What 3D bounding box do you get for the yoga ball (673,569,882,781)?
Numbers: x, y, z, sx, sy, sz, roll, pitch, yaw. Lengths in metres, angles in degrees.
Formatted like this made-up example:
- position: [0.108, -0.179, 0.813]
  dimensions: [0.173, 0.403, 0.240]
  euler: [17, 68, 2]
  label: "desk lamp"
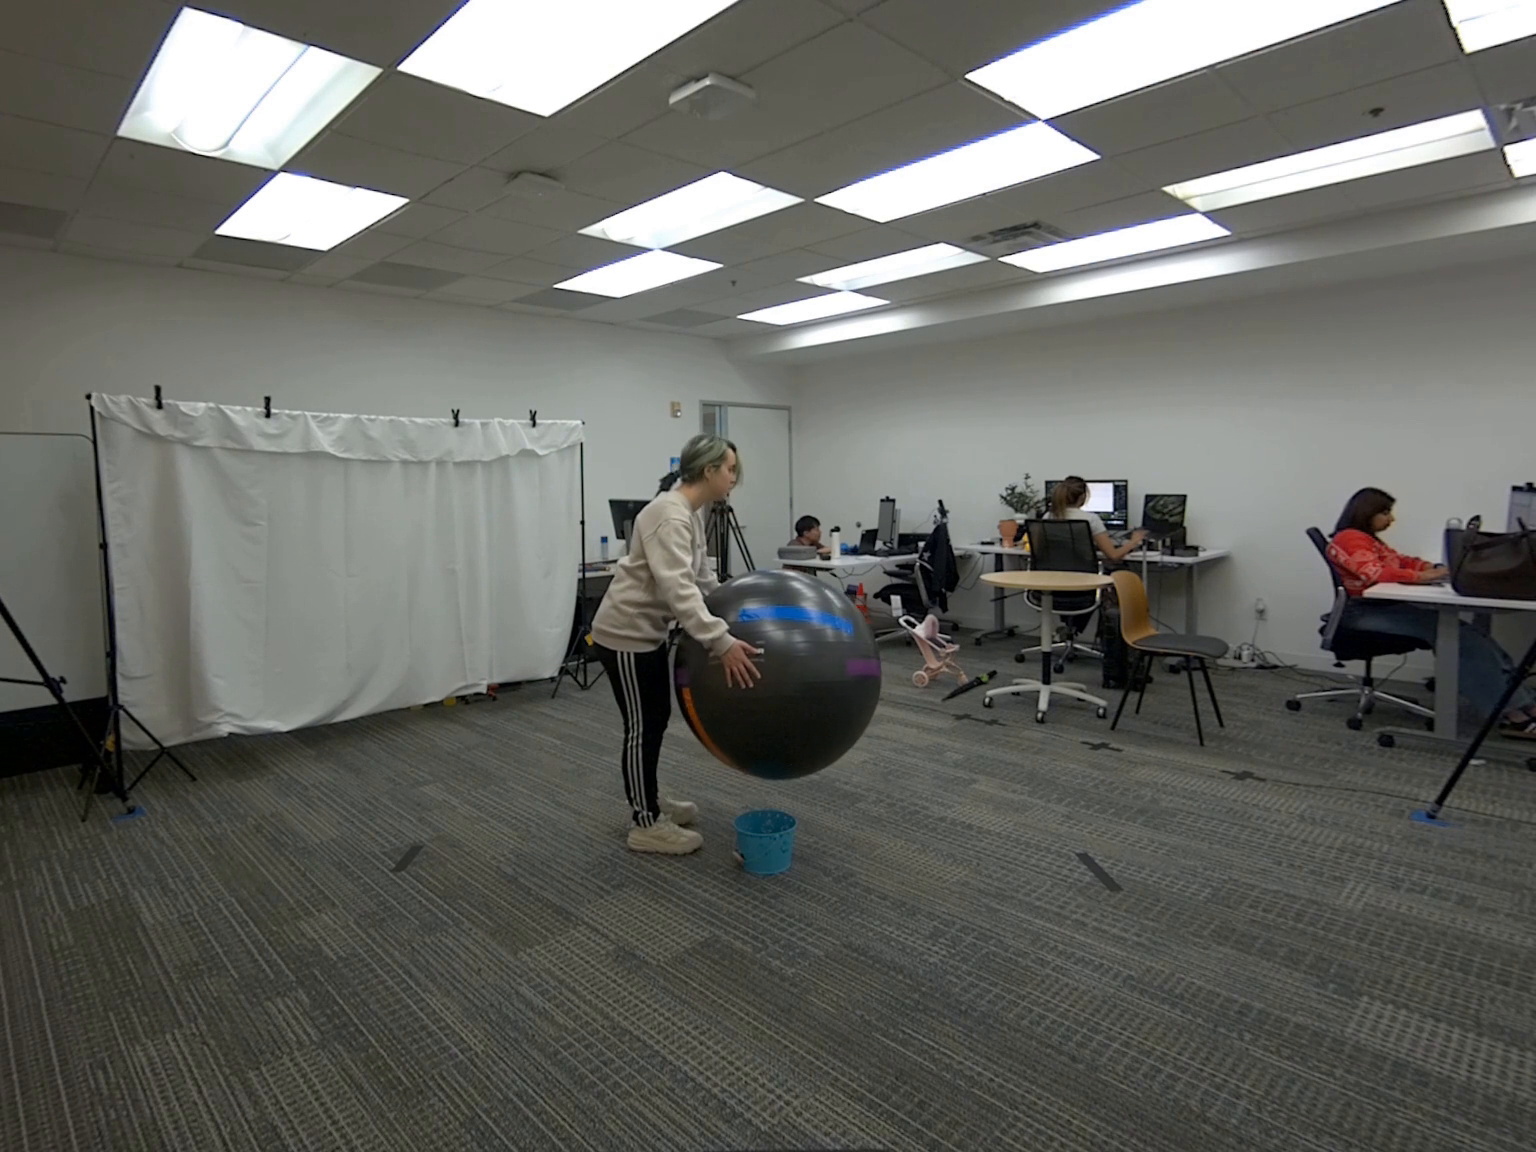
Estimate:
- position: [0.028, 0.354, 3.150]
  dimensions: [0.757, 0.755, 0.762]
  euler: [-1, 5, -2]
  label: "yoga ball"
